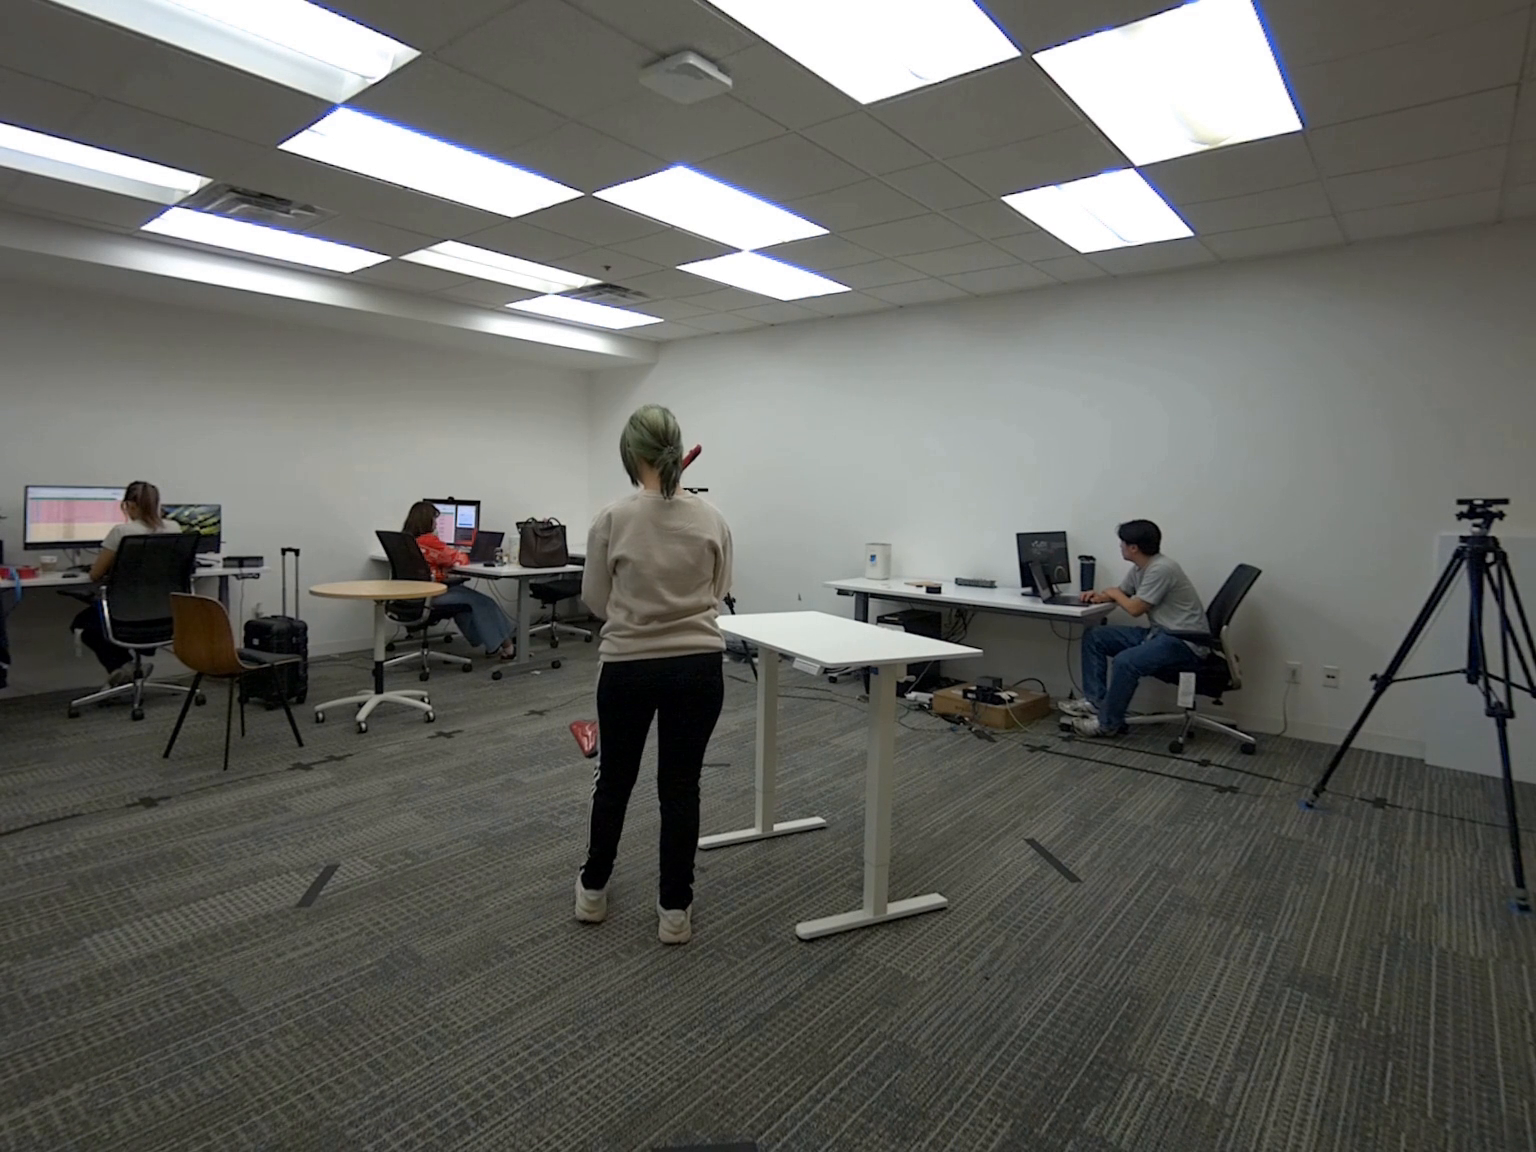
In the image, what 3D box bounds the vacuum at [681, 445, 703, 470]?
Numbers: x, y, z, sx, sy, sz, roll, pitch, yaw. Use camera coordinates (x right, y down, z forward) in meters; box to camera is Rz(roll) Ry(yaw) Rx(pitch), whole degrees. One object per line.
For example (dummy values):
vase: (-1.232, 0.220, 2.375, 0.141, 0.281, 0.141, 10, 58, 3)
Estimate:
vacuum: (-0.434, 0.060, 2.898, 0.139, 1.048, 0.261, 18, 3, -28)
